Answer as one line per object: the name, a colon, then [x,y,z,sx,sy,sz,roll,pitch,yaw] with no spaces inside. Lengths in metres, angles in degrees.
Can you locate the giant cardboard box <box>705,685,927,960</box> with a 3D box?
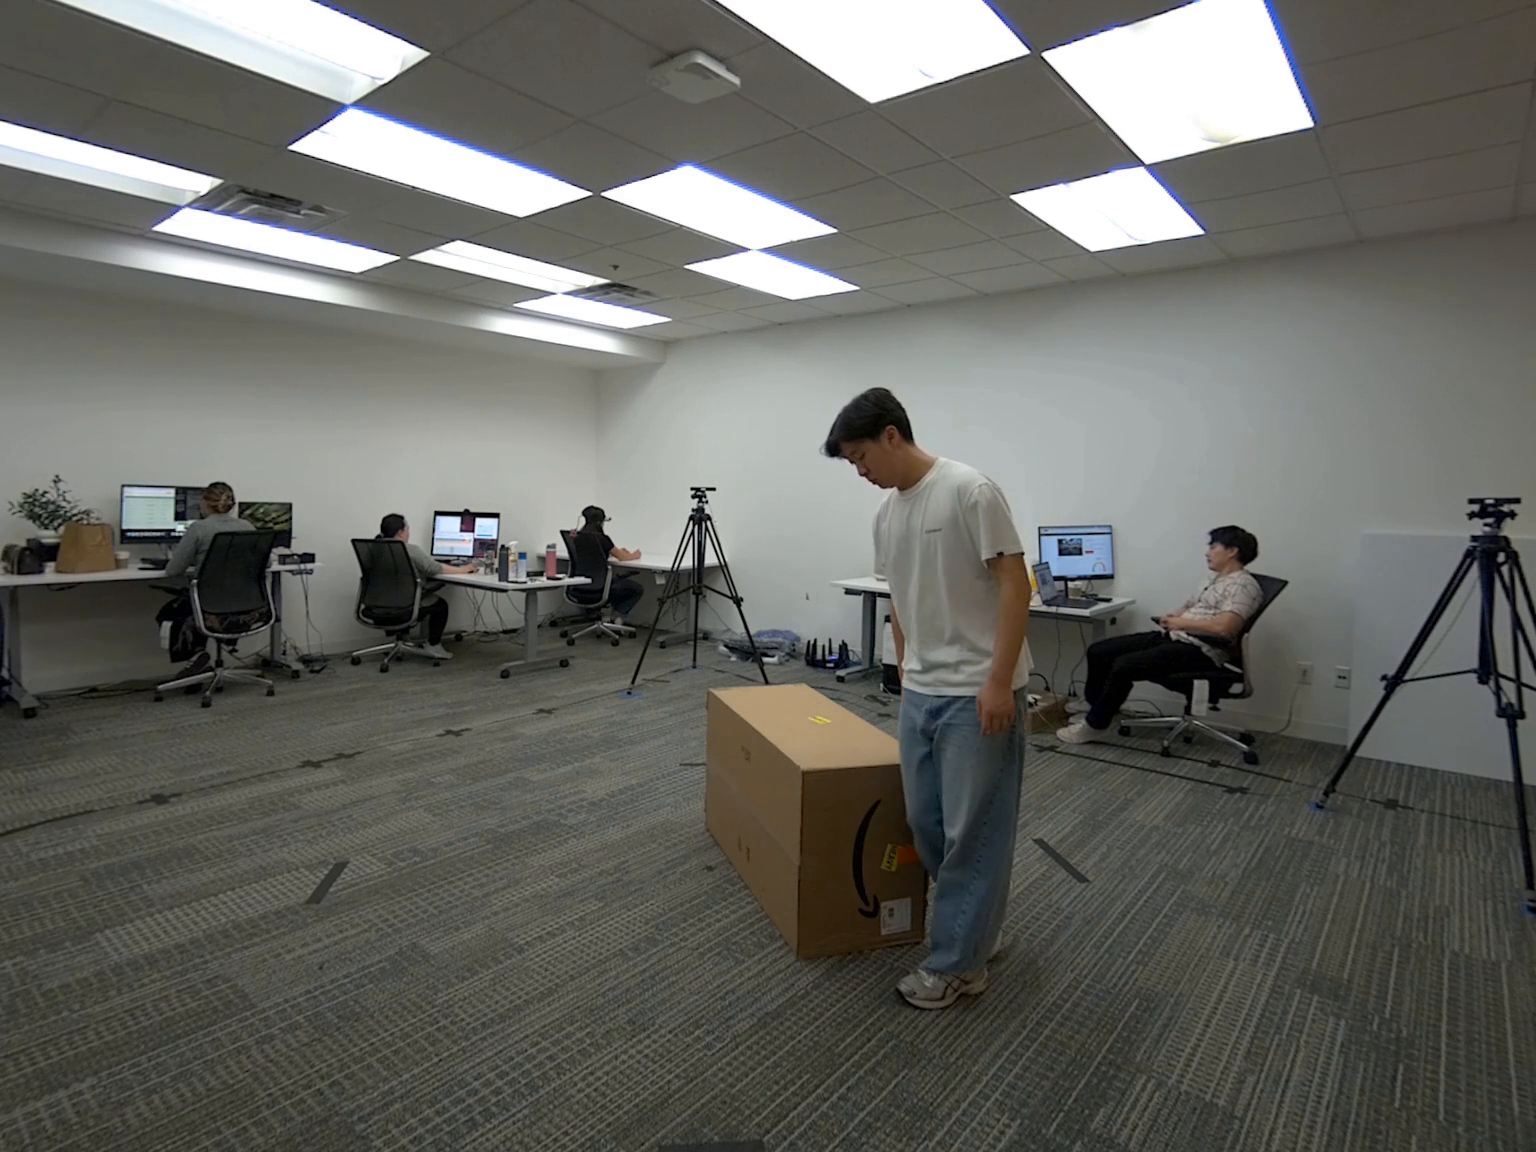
giant cardboard box: [0.112,0.789,3.041,0.418,0.575,1.049,0,6,-19]
